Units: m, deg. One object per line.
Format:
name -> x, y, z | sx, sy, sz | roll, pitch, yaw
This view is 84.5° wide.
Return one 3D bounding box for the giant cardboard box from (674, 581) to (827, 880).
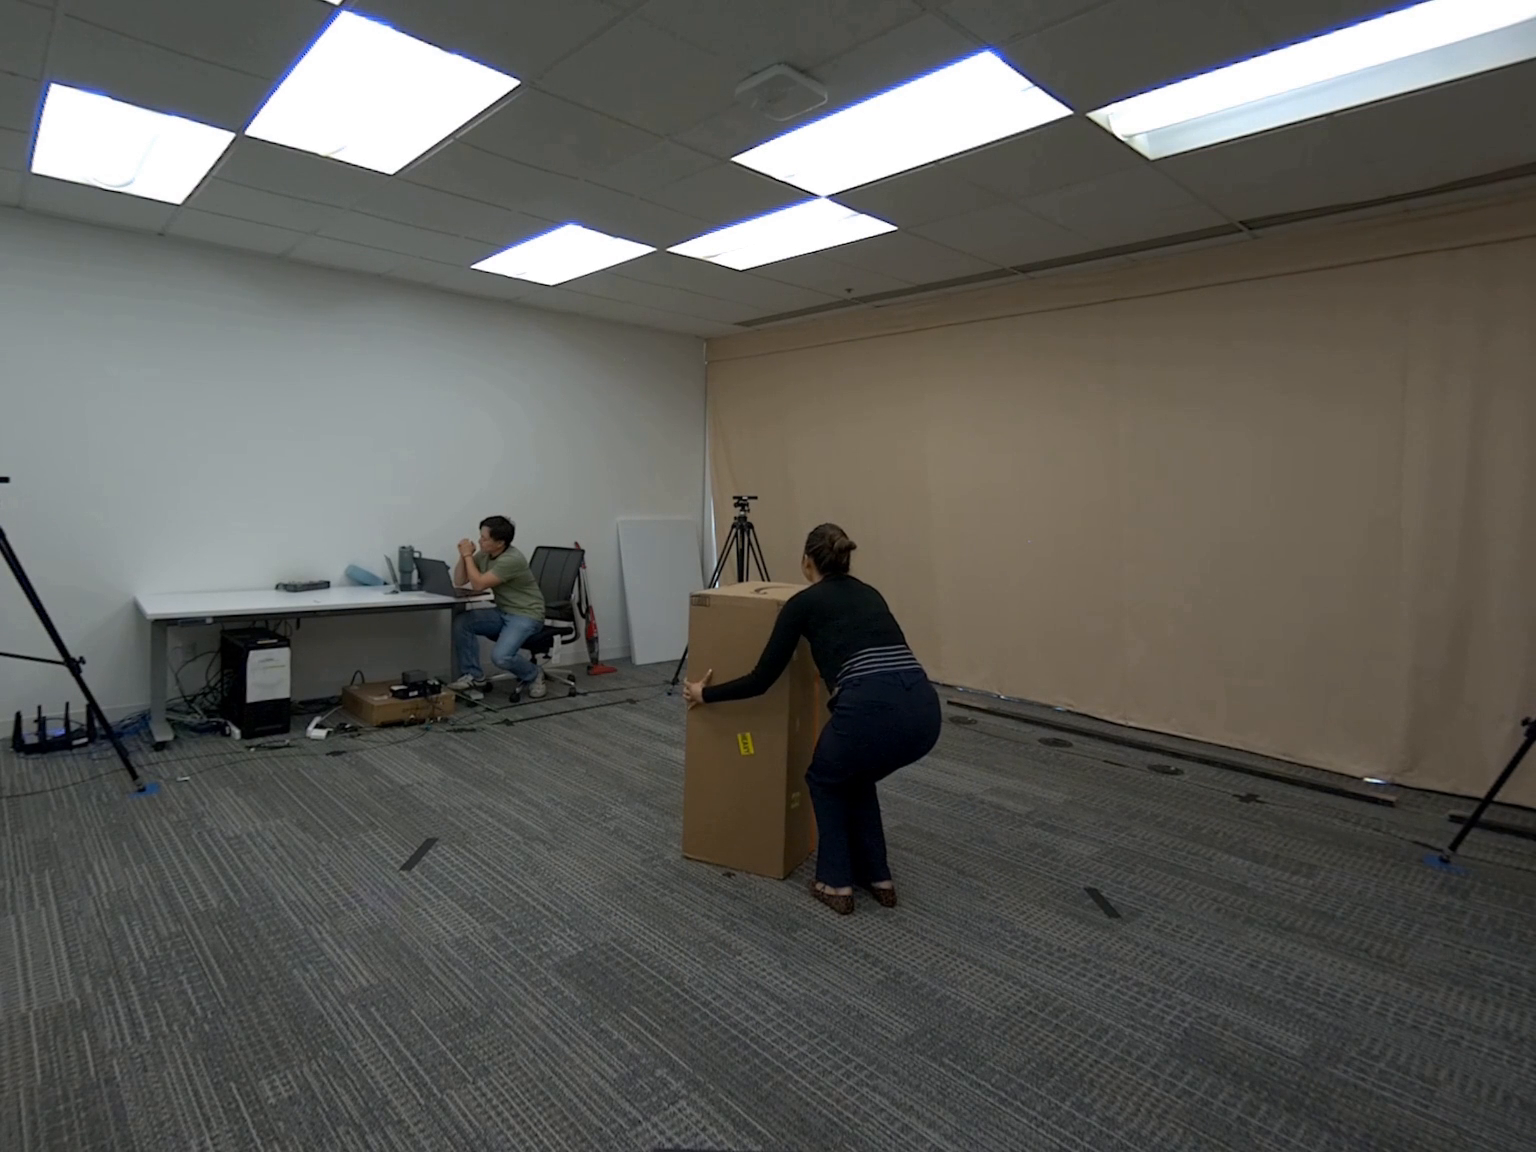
giant cardboard box -> -0.021, 0.567, 3.390 | 0.434, 1.024, 0.568 | 3, 3, 23
